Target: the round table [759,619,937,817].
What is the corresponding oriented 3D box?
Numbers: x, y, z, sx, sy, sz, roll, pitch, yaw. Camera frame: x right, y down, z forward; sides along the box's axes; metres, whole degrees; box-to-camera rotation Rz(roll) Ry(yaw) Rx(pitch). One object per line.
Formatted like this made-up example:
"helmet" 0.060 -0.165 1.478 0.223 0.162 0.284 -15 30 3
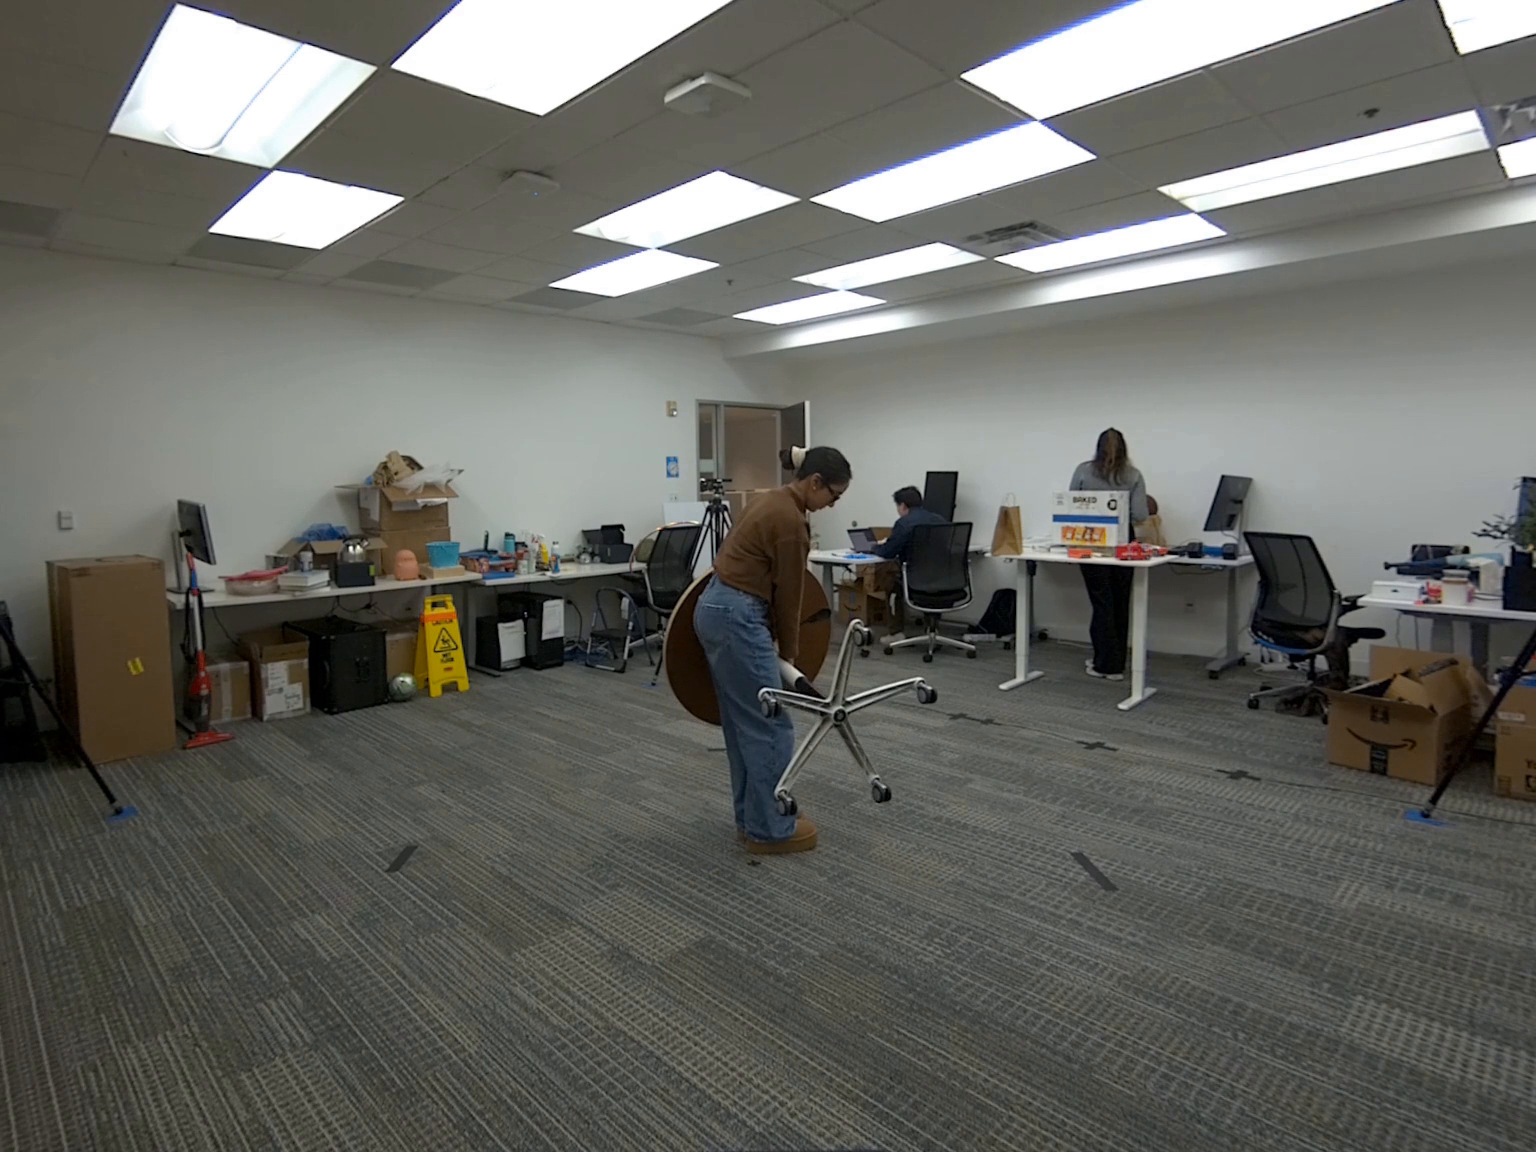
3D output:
"round table" 0.107 0.389 3.204 0.747 0.754 0.821 -3 17 -26
